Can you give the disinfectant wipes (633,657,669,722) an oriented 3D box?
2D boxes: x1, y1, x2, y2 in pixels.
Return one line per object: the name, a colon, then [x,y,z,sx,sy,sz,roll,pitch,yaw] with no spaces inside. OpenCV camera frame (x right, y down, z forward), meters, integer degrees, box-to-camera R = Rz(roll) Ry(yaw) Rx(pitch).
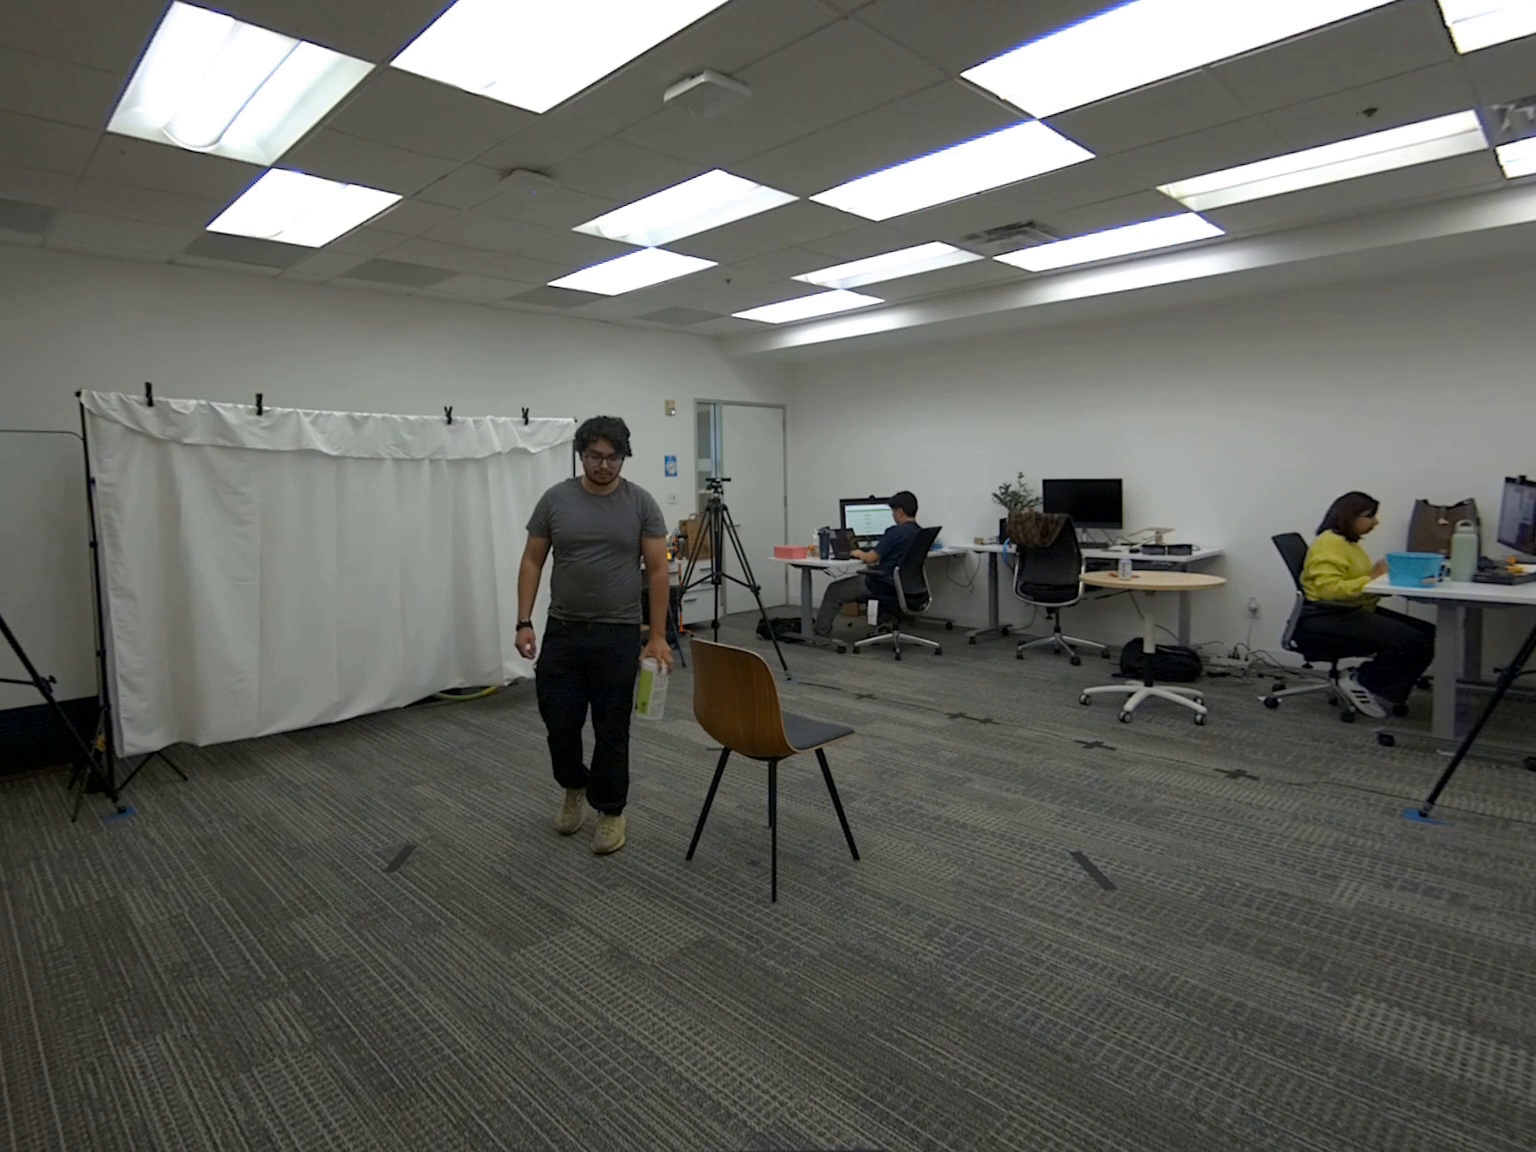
disinfectant wipes: [-0.439,0.422,3.202,0.117,0.217,0.118,10,5,-3]
